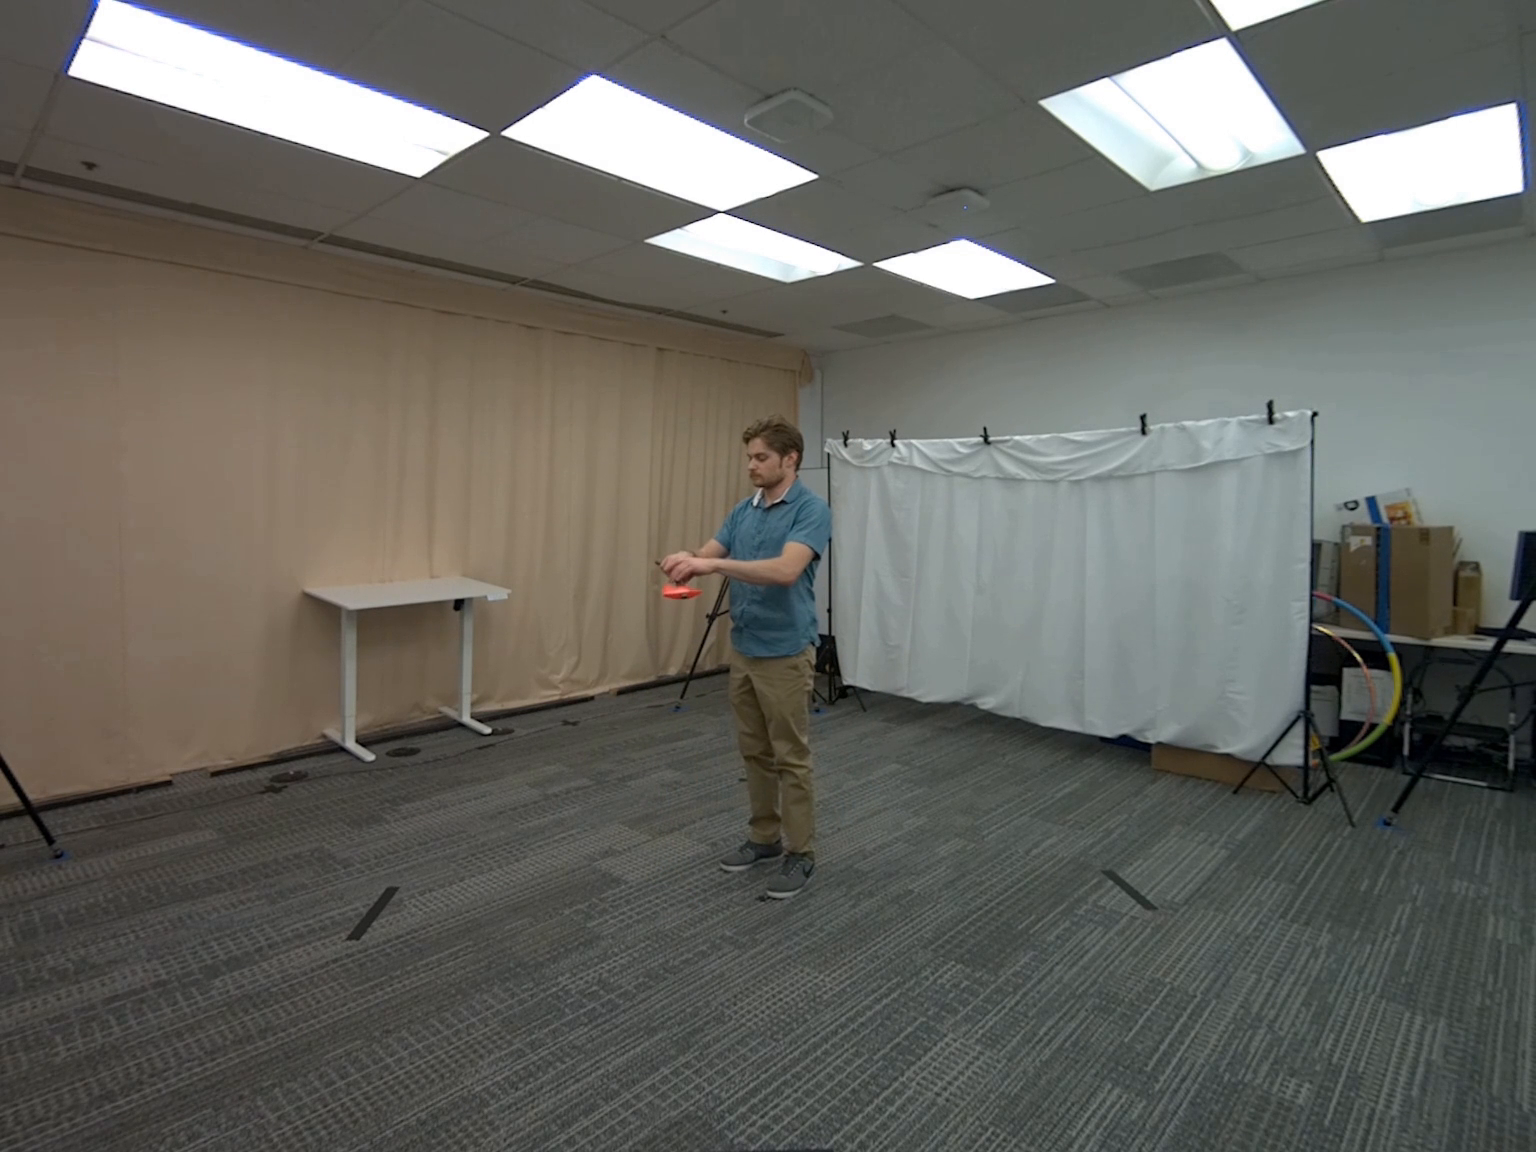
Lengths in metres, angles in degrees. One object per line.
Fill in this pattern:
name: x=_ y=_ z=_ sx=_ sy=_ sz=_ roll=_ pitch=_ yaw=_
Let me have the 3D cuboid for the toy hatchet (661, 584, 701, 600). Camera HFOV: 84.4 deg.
toy hatchet: x=-0.328 y=0.030 z=2.886 sx=0.128 sy=0.029 sz=0.279 roll=-14 pitch=22 yaw=-30
